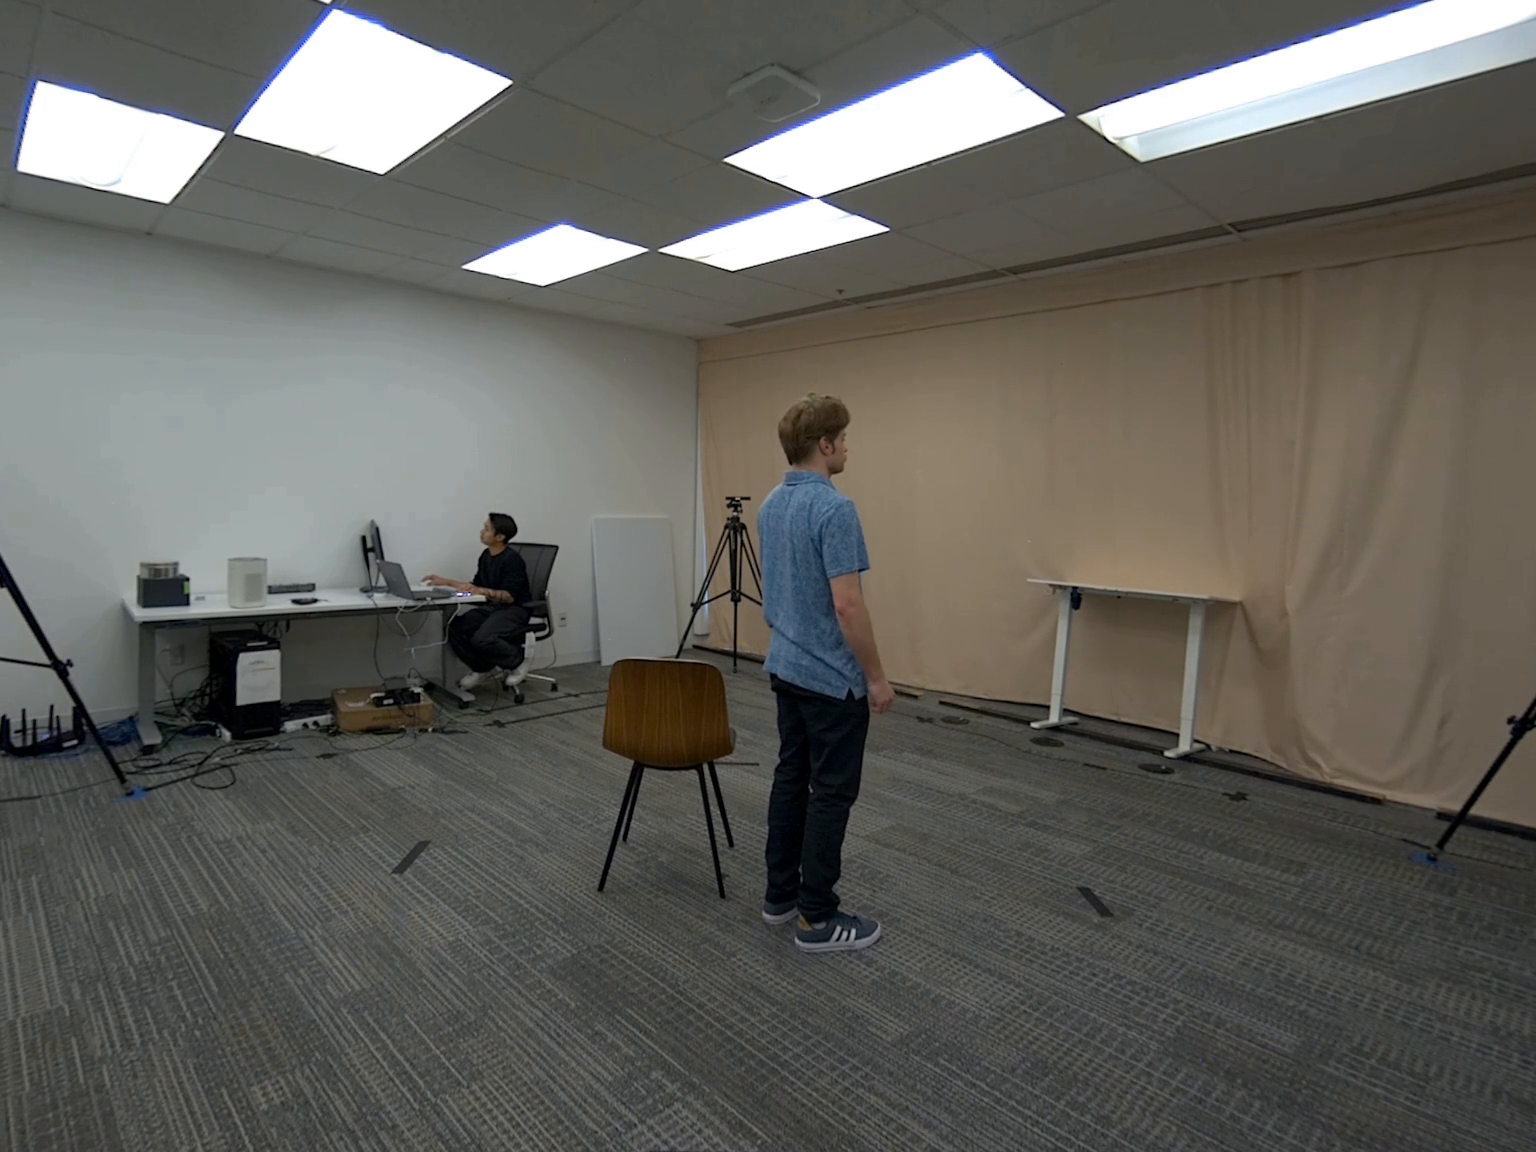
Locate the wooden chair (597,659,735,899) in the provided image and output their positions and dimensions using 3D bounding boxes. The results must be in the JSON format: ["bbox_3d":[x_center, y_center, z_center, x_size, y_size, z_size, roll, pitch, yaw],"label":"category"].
[{"bbox_3d":[-0.369,0.674,3.145,0.479,0.872,0.525,1,7,2],"label":"wooden chair"}]
